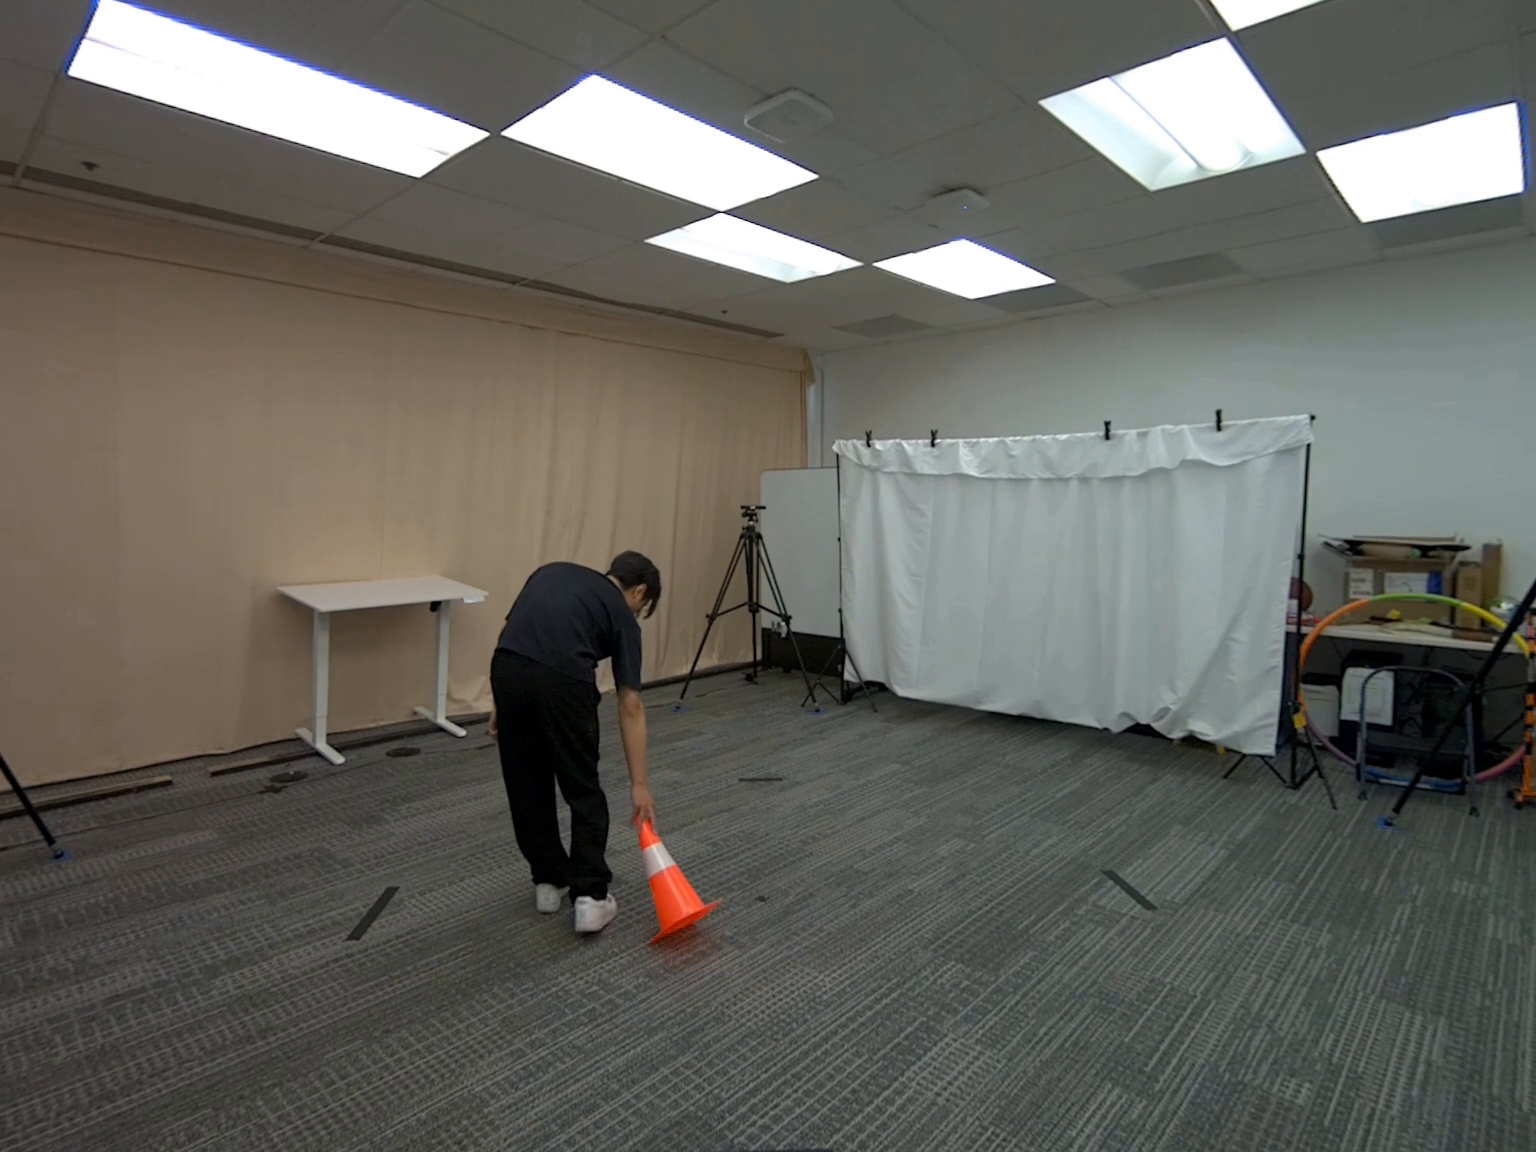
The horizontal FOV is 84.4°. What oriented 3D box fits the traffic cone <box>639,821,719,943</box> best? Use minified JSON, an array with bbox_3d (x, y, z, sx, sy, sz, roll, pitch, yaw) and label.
[{"bbox_3d":[-0.350,0.959,2.762,0.197,0.393,0.206,-3,-35,-43],"label":"traffic cone"}]
